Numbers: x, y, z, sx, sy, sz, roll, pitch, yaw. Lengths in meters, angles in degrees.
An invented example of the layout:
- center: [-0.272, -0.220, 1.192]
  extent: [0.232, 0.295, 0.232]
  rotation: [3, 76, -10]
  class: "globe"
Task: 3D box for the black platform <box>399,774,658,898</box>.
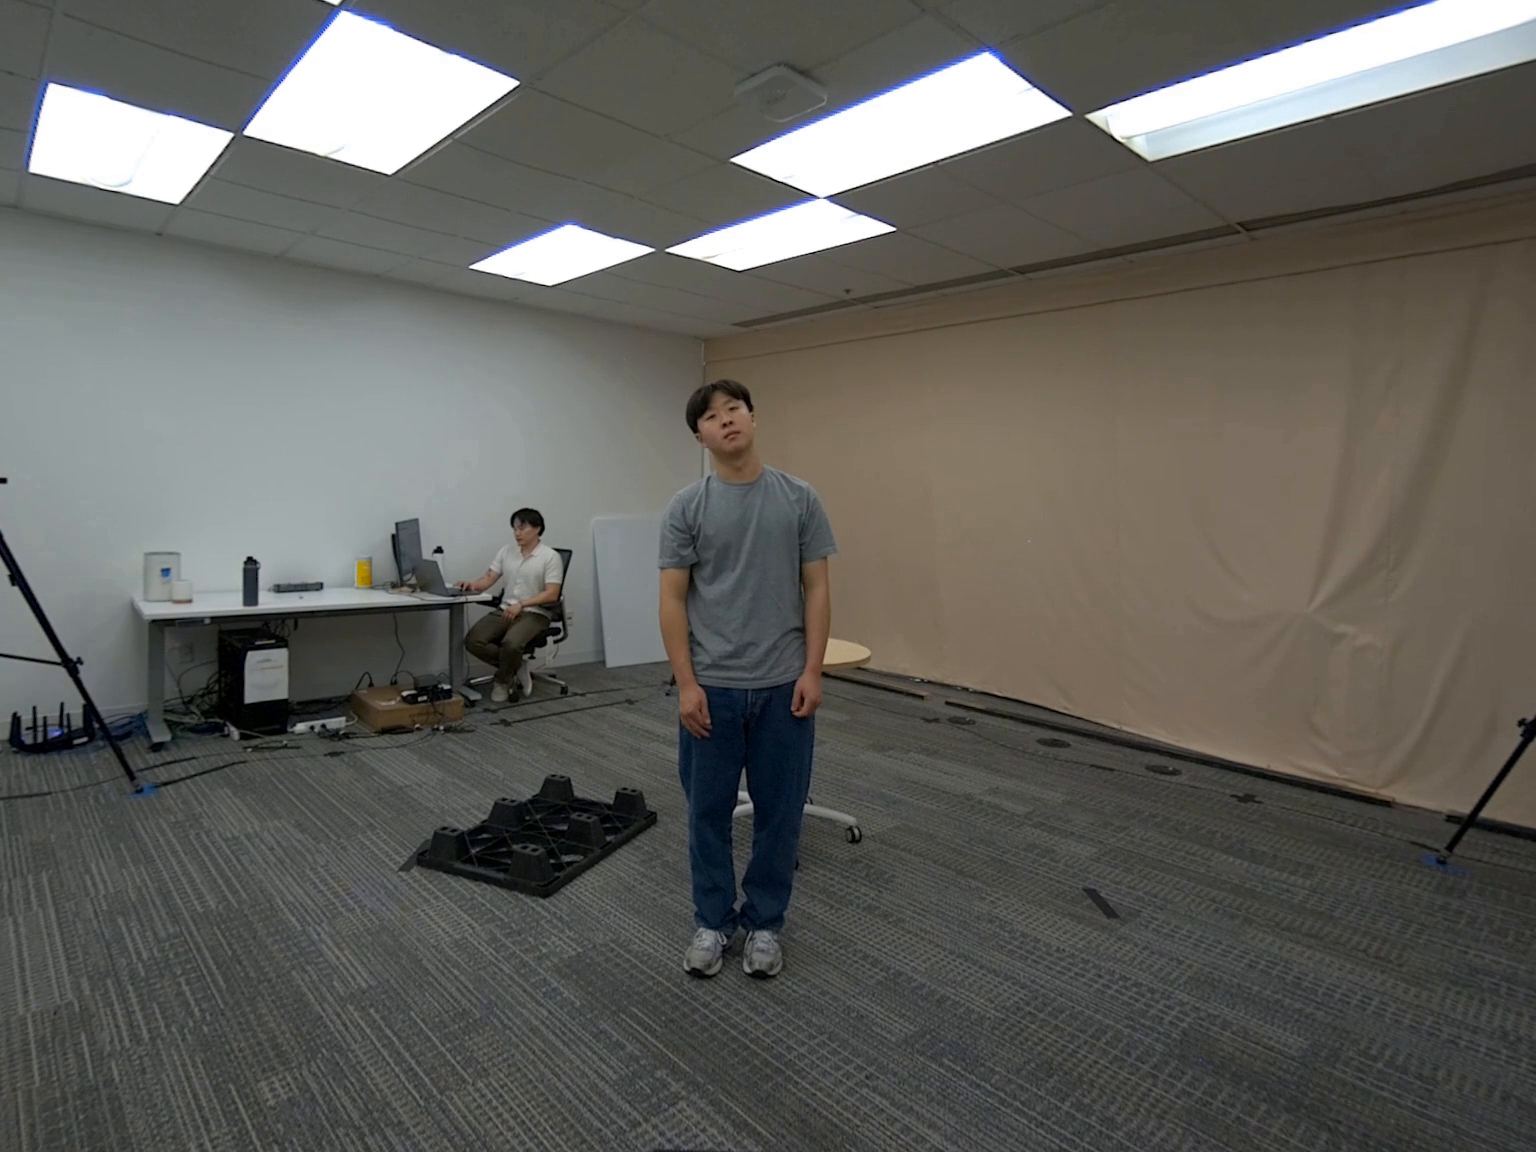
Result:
- center: [-0.897, 1.001, 3.360]
  extent: [0.616, 0.143, 0.794]
  rotation: [3, 6, 22]
  class: "black platform"
